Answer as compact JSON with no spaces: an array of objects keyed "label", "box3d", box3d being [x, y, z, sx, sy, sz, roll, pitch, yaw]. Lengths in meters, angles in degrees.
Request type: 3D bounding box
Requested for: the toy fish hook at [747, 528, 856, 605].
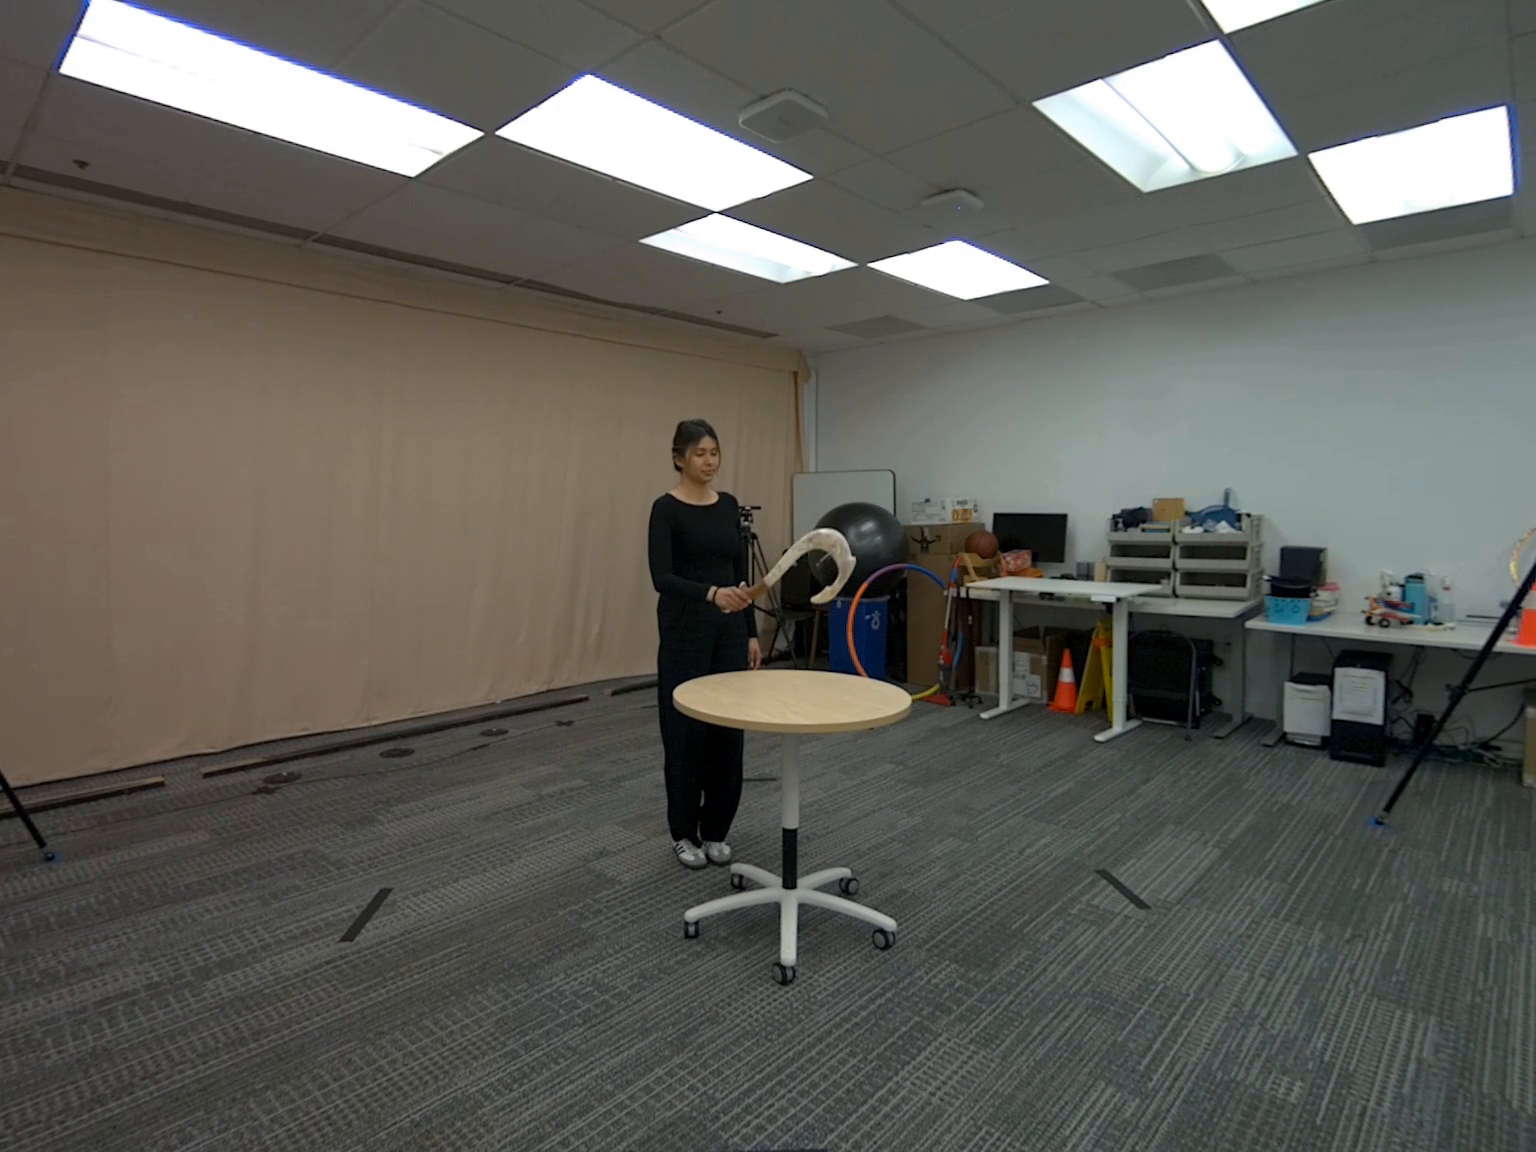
[{"label":"toy fish hook","box3d":[0.062,0.040,2.786,0.513,0.229,0.047,-33,-22,24]}]
